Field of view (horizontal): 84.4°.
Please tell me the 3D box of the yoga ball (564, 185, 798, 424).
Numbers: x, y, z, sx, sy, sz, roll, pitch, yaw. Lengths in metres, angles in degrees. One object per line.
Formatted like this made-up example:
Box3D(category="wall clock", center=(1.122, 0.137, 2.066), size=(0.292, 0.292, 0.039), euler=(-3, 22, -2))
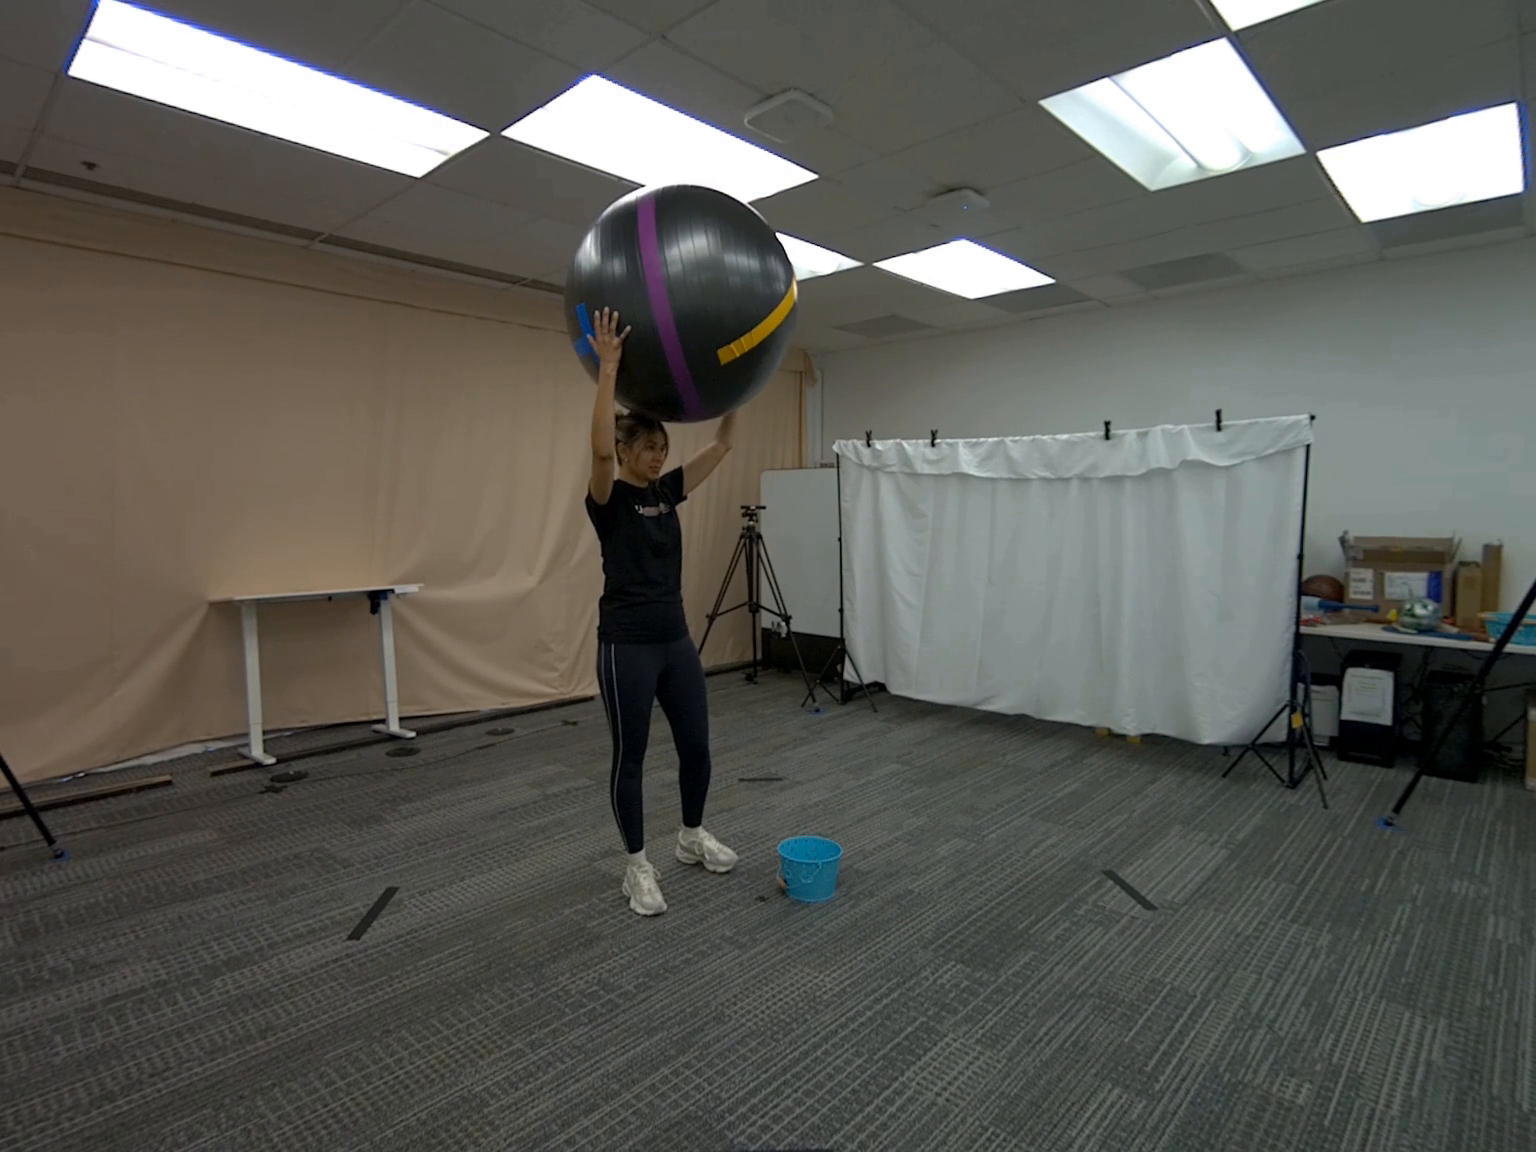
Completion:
Box3D(category="yoga ball", center=(-0.282, -0.879, 2.760), size=(0.757, 0.756, 0.760), euler=(0, 4, -2))
